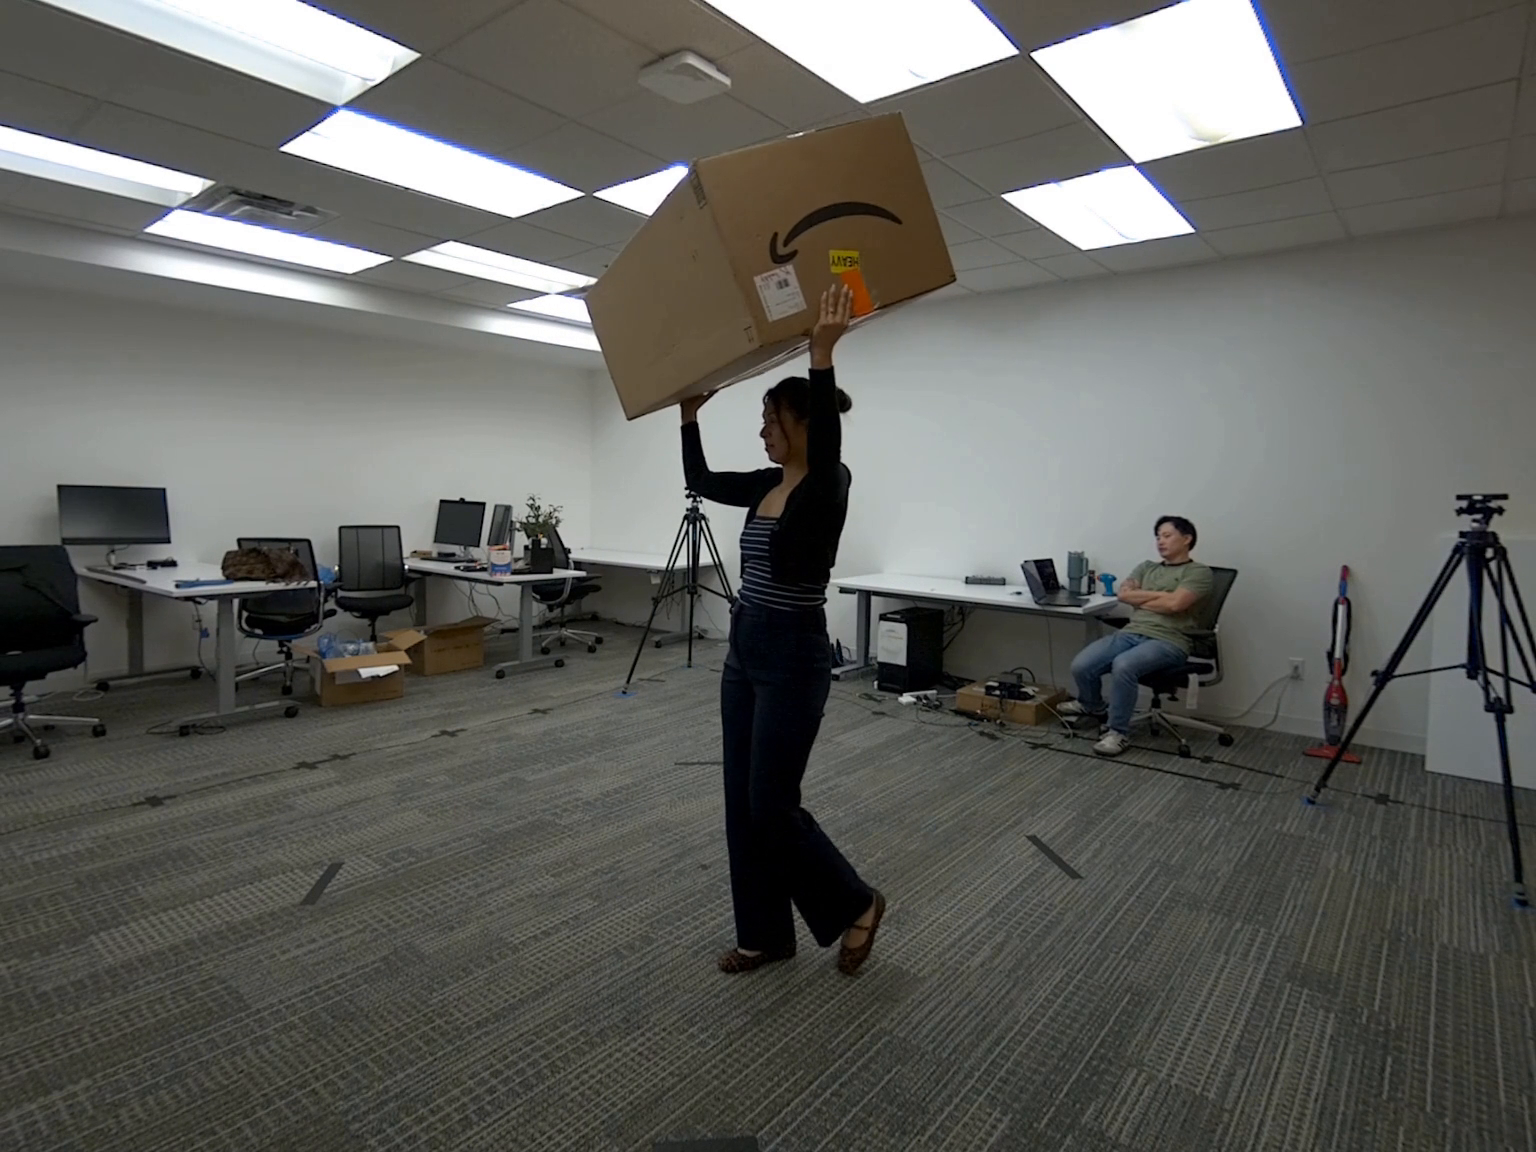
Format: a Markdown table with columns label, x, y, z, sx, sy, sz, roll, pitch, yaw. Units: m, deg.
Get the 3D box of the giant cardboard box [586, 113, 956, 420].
| label | x | y | z | sx | sy | sz | roll | pitch | yaw |
| --- | --- | --- | --- | --- | --- | --- | --- | --- | --- |
| giant cardboard box | -0.075 | -0.799 | 2.404 | 0.570 | 0.422 | 1.049 | -24 | 10 | -23 |
